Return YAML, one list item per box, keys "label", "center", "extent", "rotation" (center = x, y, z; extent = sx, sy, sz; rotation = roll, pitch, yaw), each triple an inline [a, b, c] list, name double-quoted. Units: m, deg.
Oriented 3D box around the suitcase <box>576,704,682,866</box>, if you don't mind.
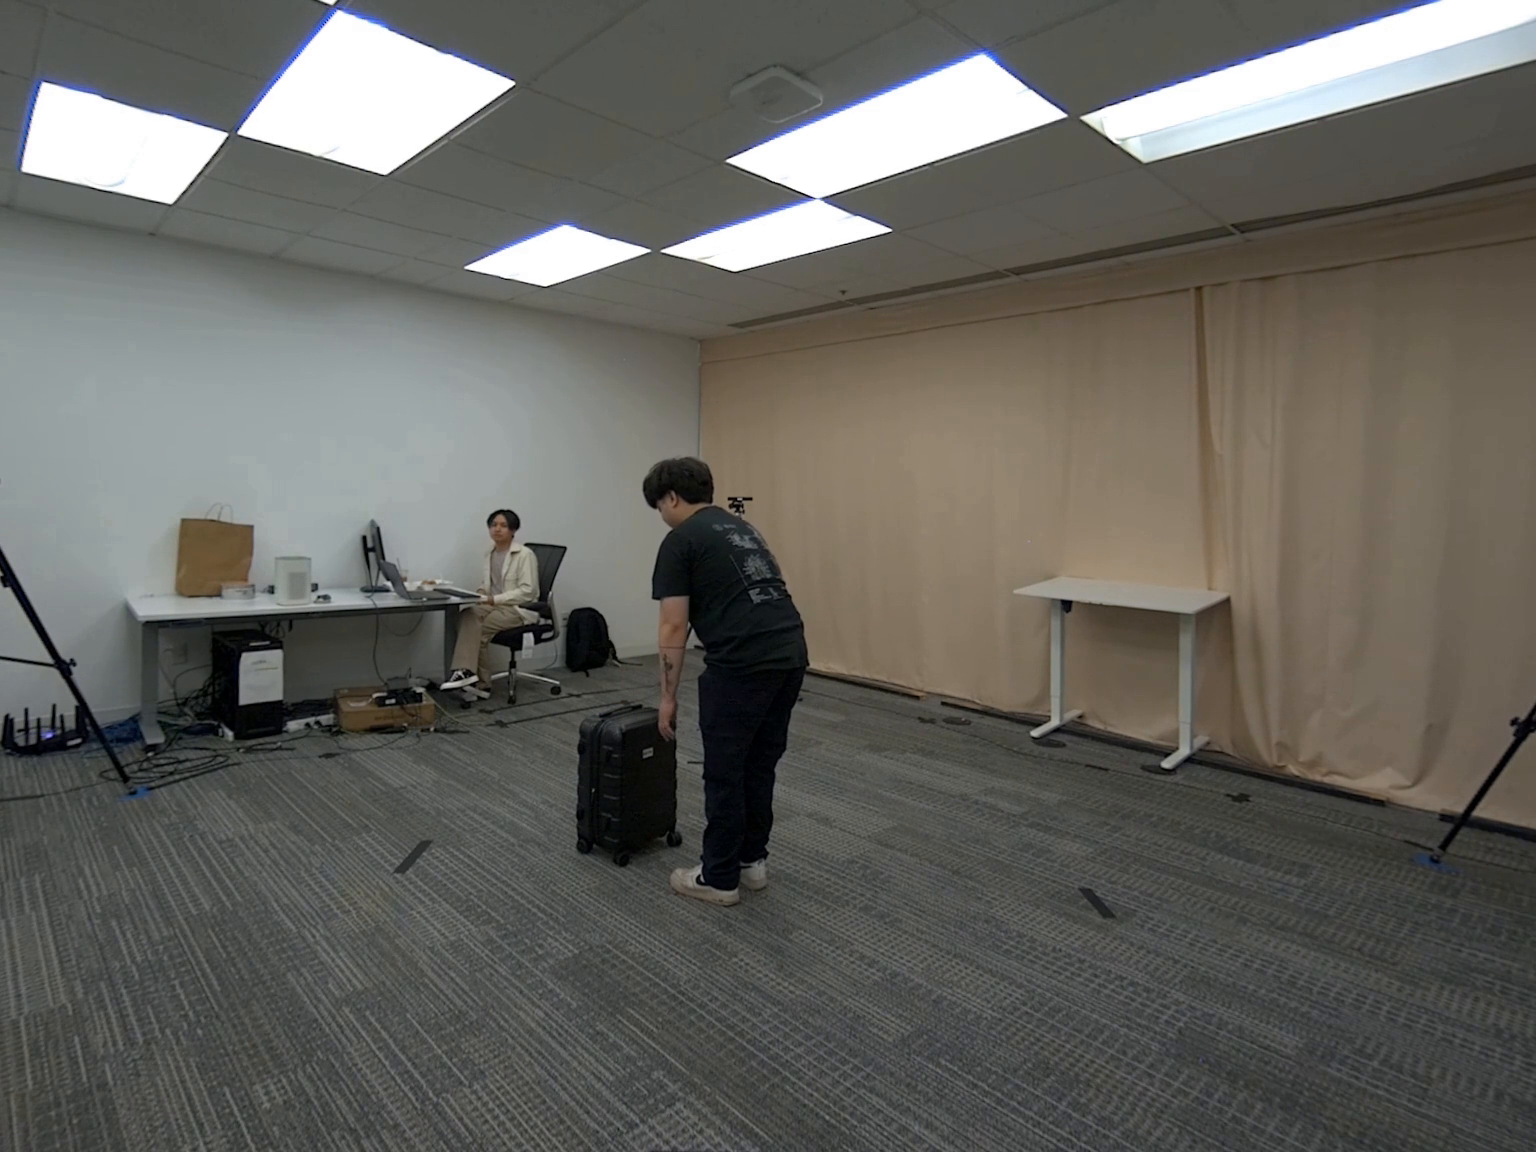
- label: "suitcase"
  center: [-0.562, 0.805, 3.332]
  extent: [0.254, 0.548, 0.367]
  rotation: [3, 4, 38]
